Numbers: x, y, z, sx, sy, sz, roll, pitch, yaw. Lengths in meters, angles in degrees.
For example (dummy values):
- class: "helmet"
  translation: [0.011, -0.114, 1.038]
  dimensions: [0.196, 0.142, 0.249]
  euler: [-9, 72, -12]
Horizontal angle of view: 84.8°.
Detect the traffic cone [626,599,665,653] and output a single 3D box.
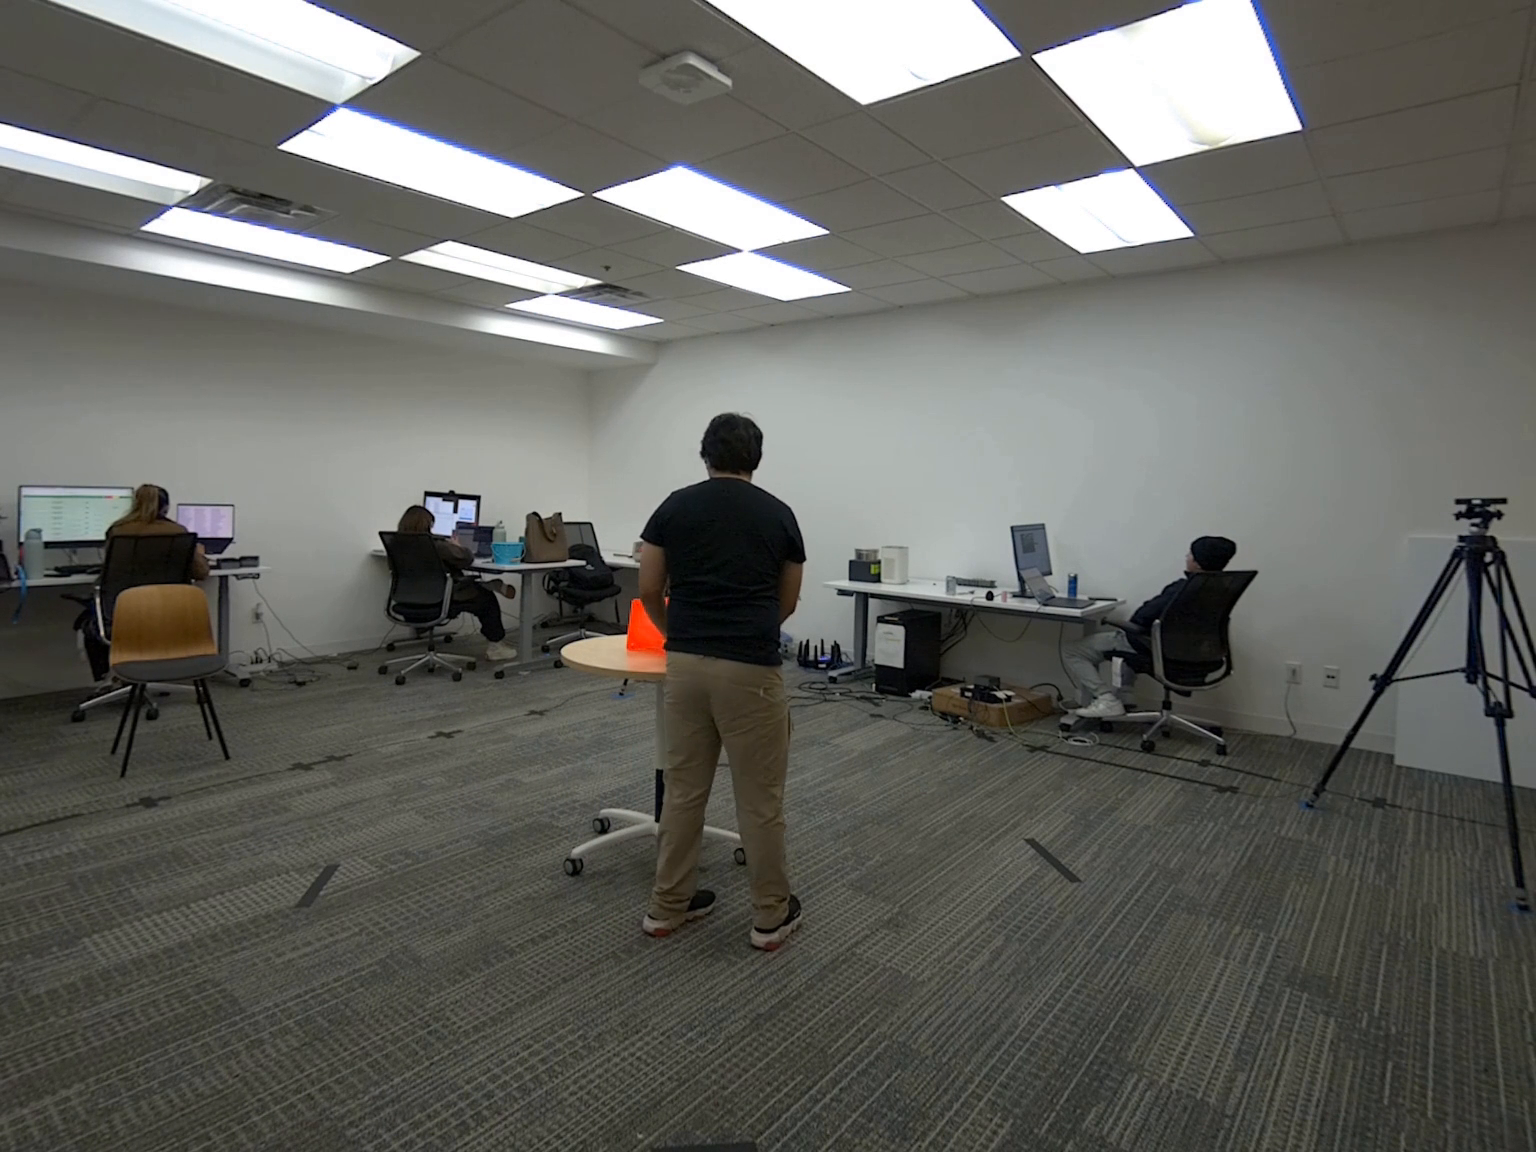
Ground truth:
- class: "traffic cone"
  translation: [-0.323, 0.236, 3.042]
  dimensions: [0.199, 0.201, 0.399]
  euler: [-2, 18, -37]
